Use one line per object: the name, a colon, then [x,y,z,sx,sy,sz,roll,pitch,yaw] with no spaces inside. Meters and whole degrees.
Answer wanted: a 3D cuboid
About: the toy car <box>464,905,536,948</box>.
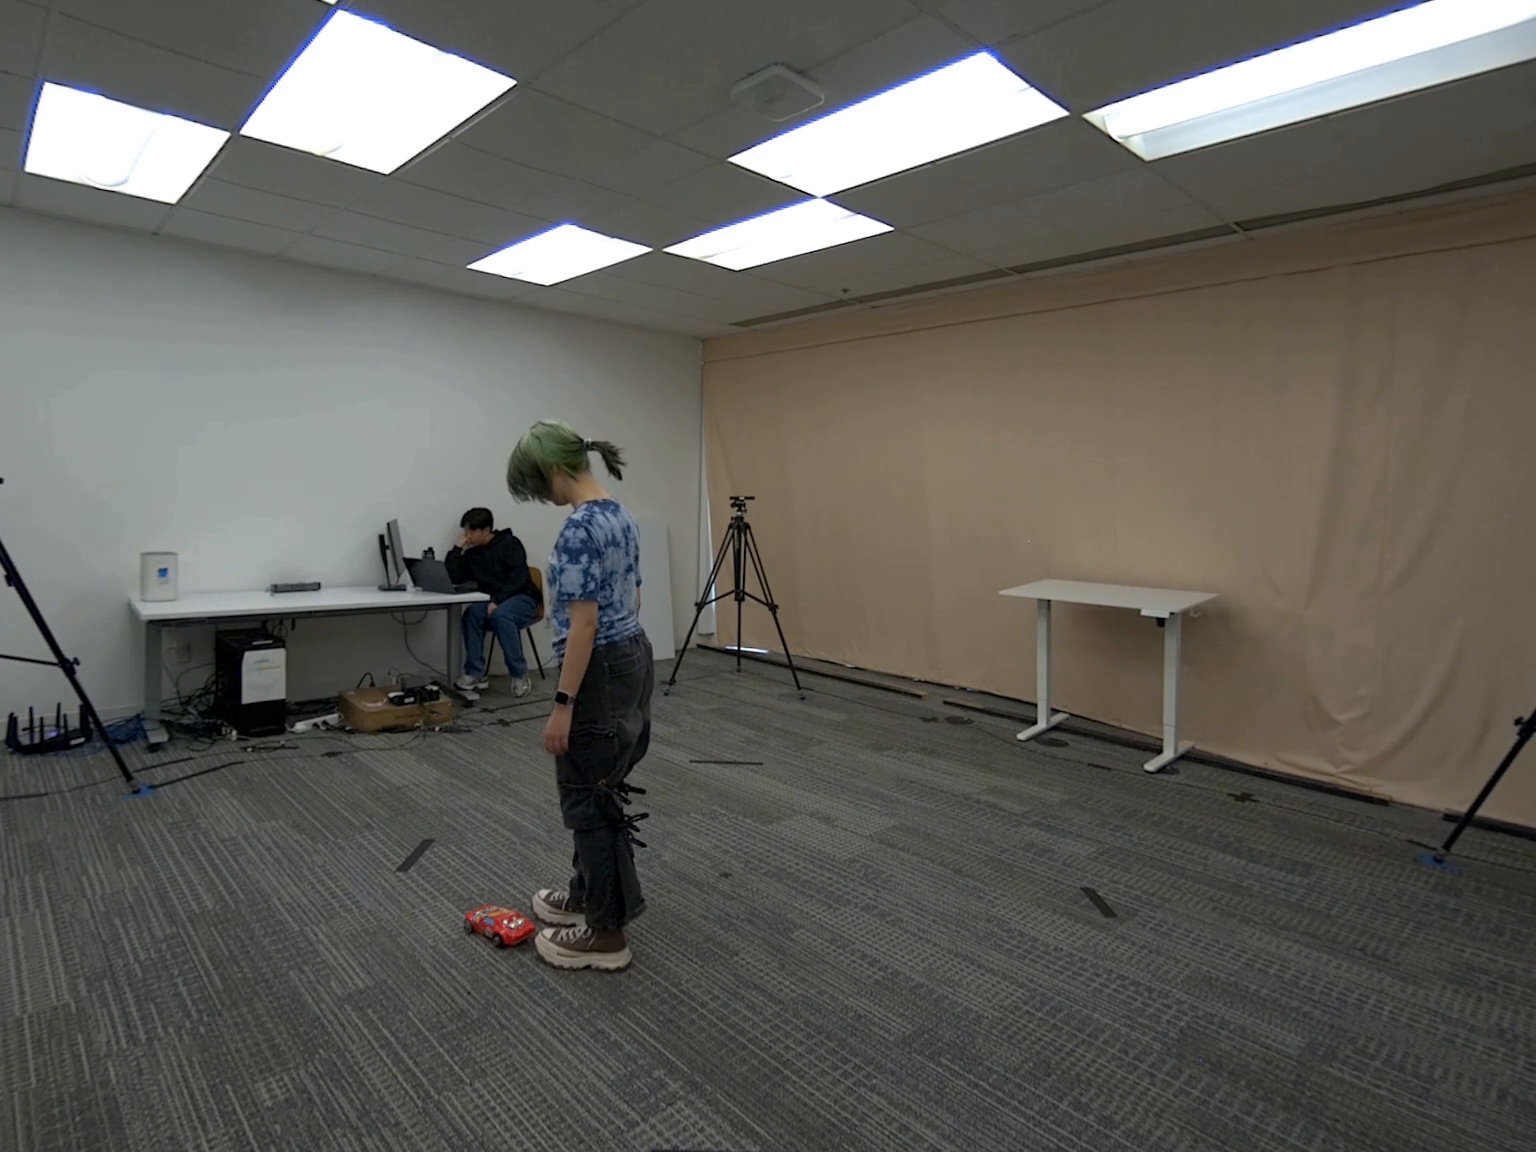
toy car: [-0.836,1.097,2.636,0.259,0.083,0.127,-10,-4,34]
